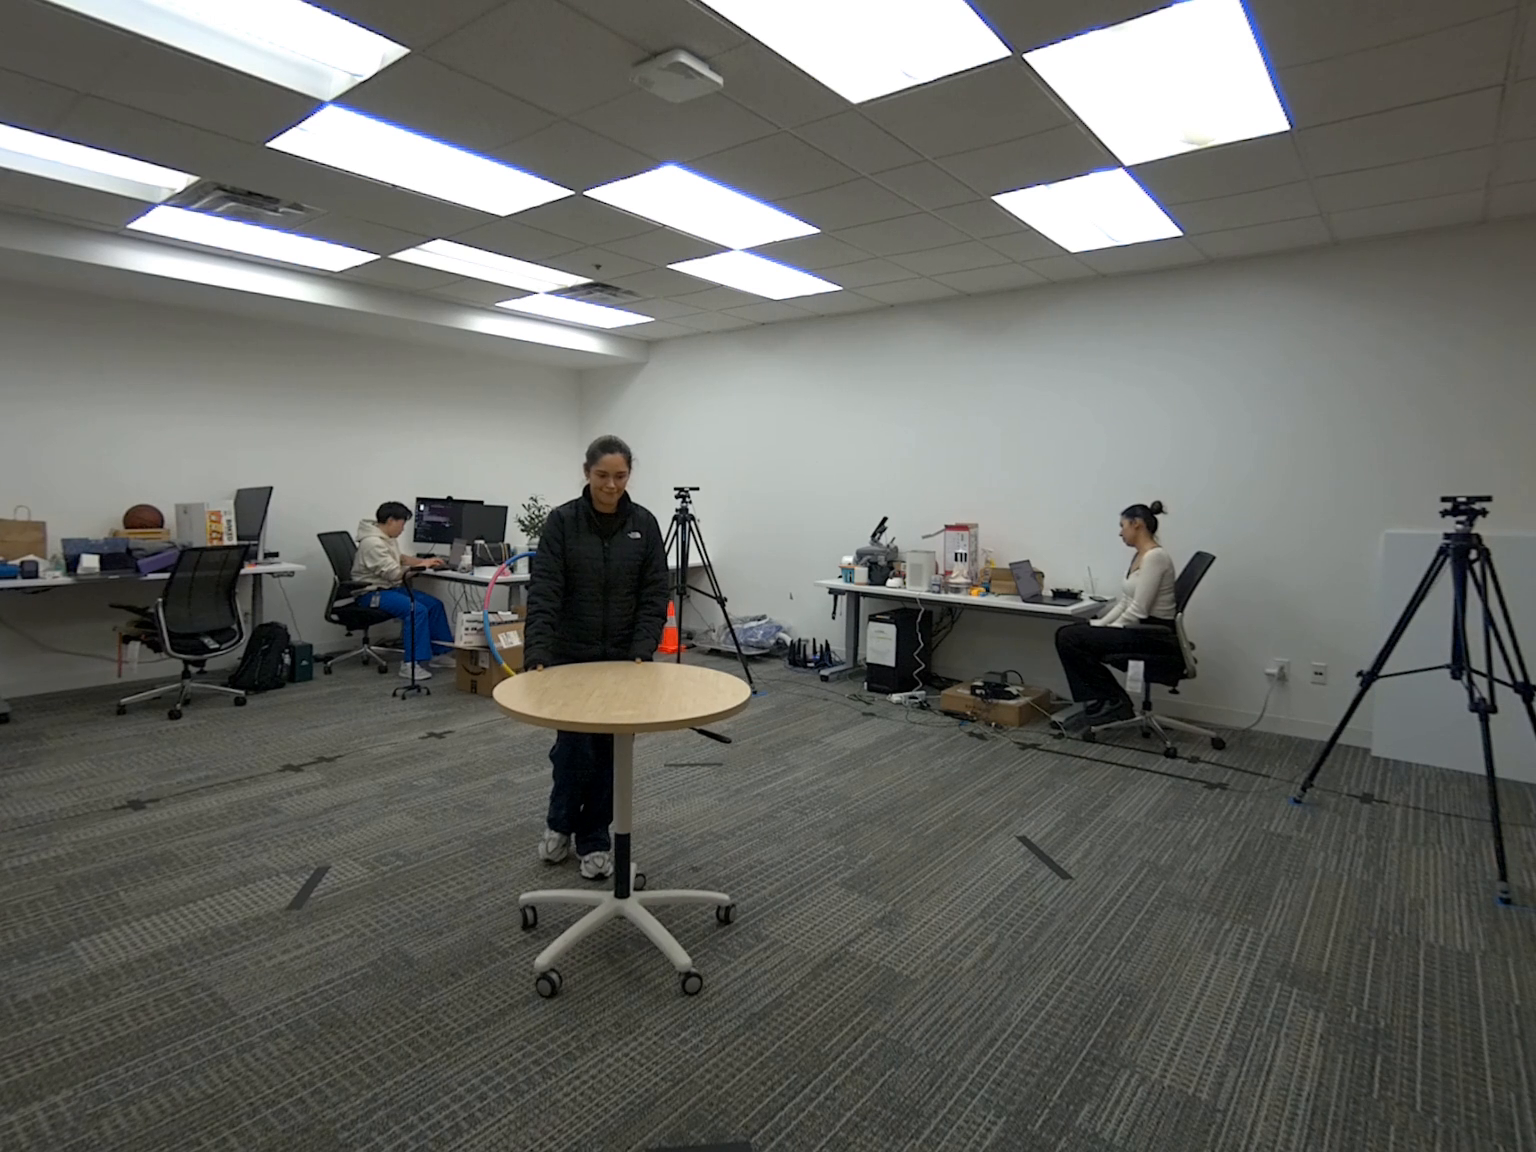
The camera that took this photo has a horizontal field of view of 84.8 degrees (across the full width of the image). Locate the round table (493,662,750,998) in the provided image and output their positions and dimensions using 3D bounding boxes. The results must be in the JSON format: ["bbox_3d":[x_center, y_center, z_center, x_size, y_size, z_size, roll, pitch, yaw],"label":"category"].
[{"bbox_3d":[-0.426,0.719,2.615,0.784,0.783,0.789,1,5,-2],"label":"round table"}]
